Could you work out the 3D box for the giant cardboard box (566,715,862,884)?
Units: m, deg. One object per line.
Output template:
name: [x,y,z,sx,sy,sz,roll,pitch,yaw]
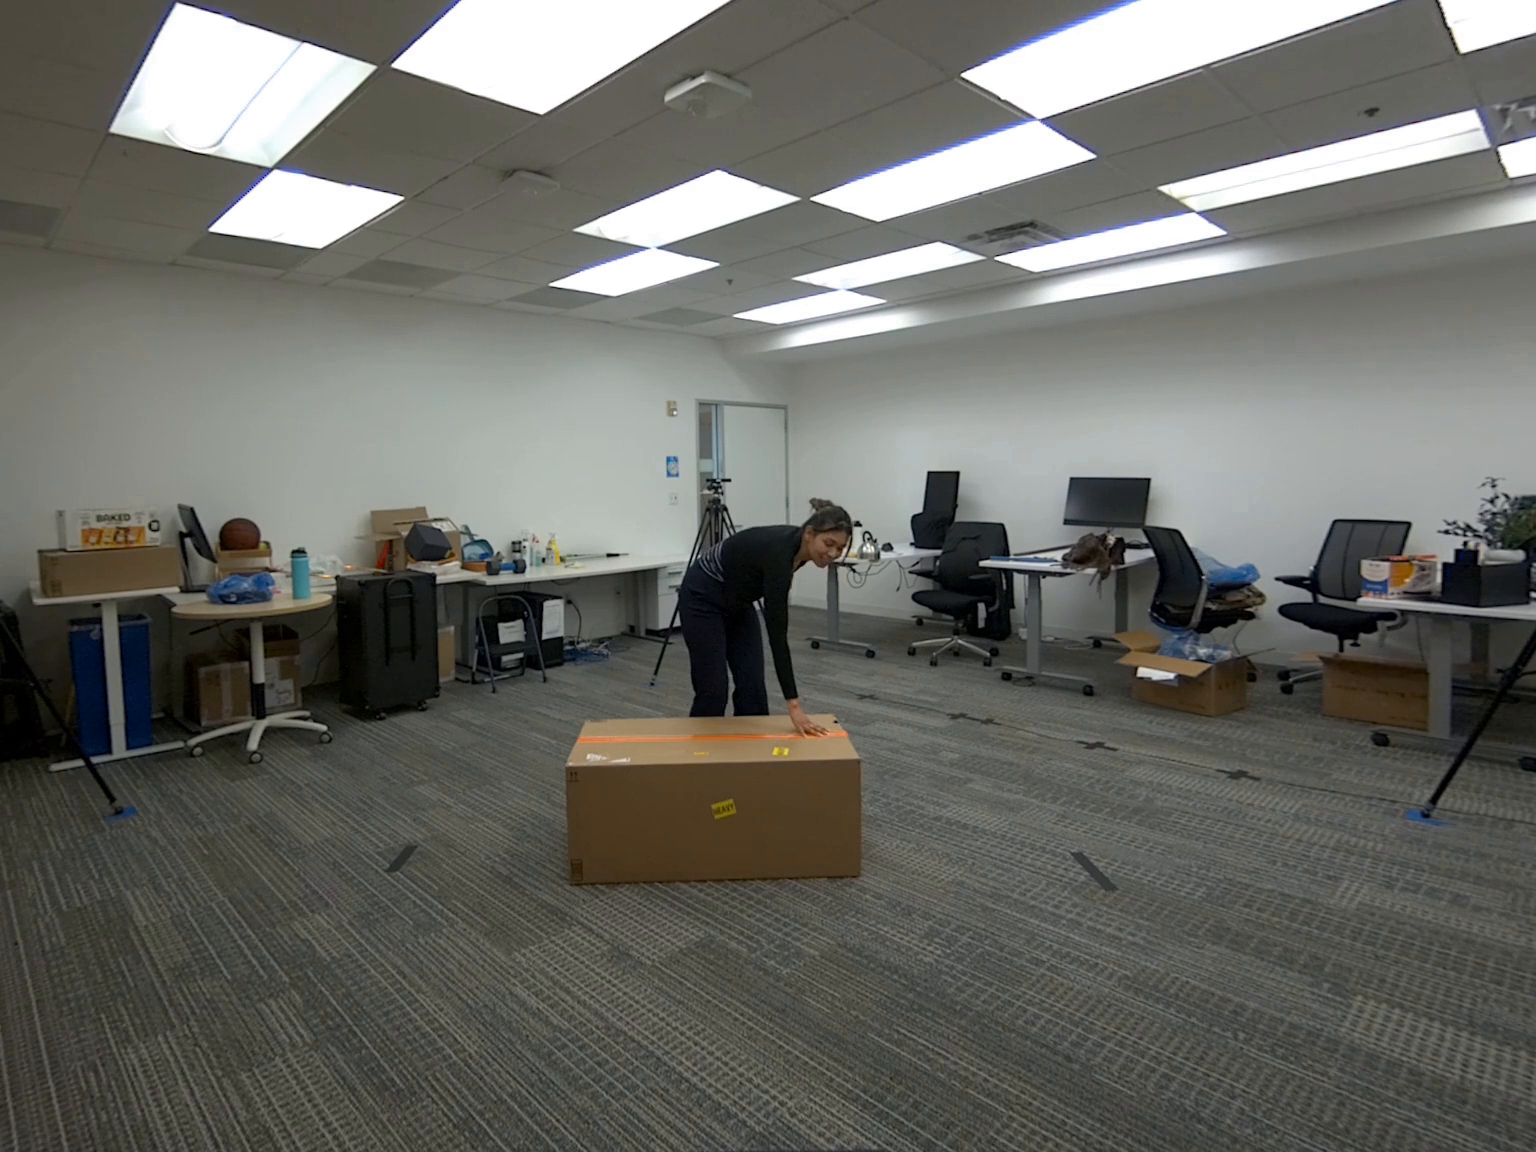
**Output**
giant cardboard box: [-0.211,0.816,3.243,1.024,0.424,0.581,-1,6,-2]
